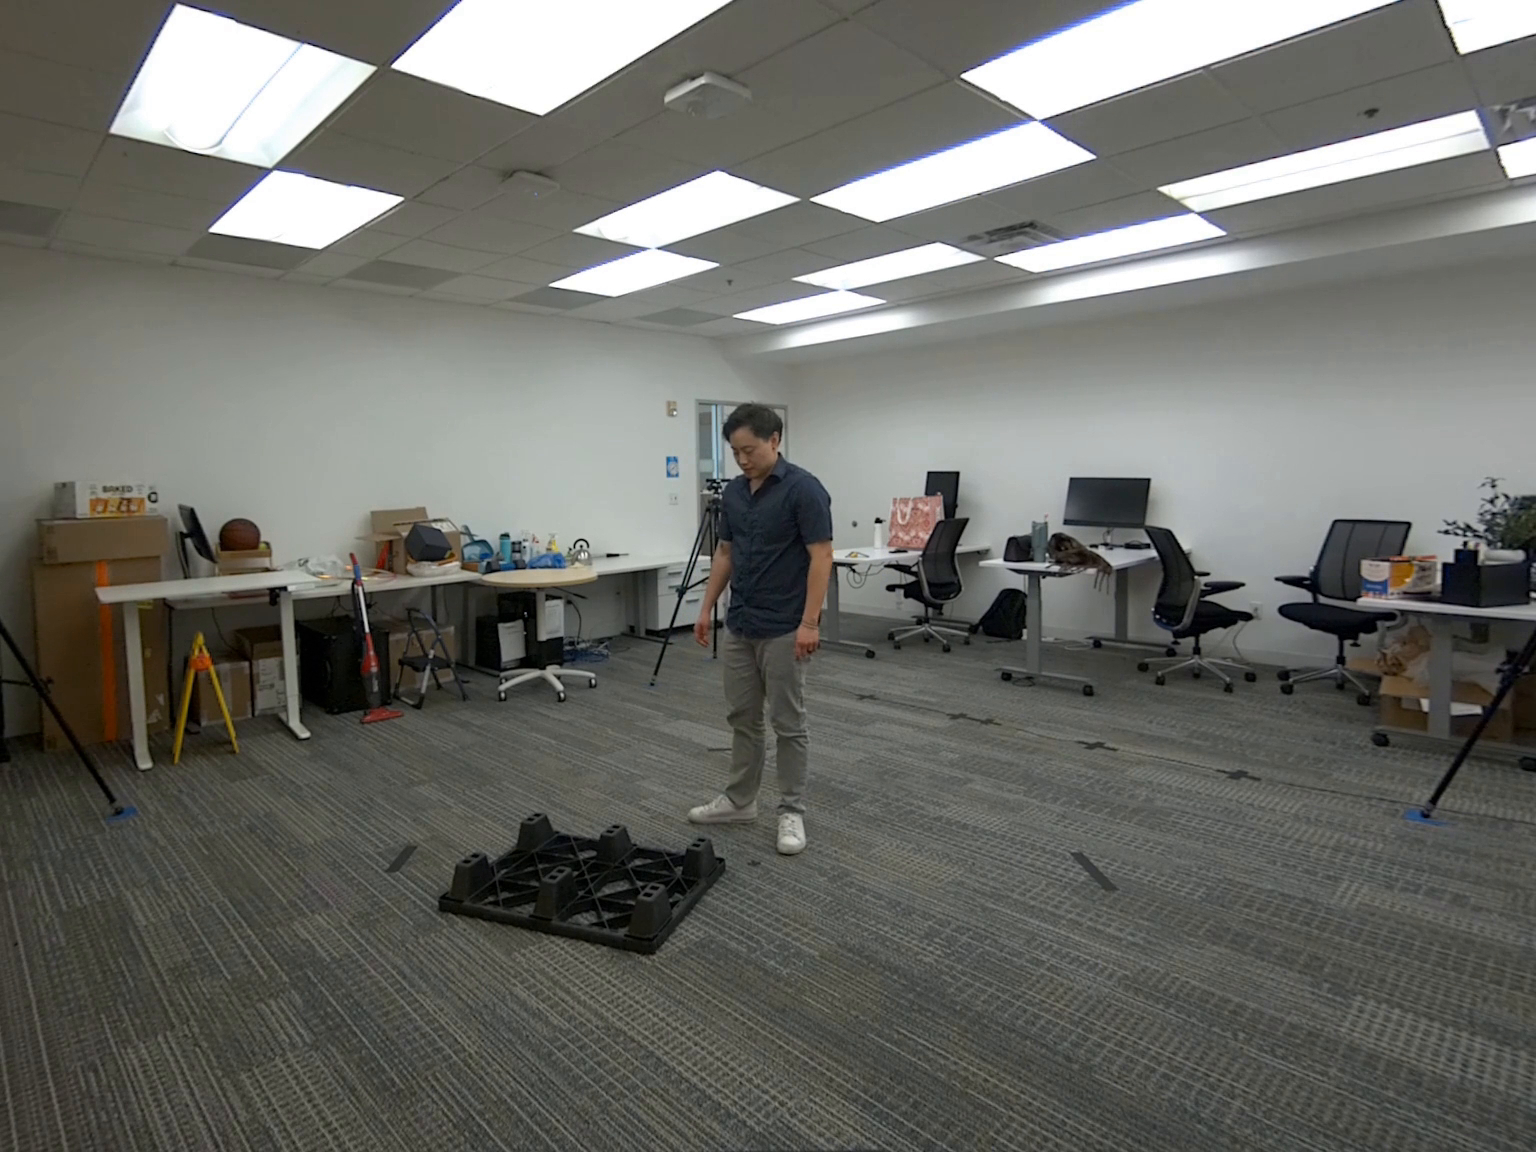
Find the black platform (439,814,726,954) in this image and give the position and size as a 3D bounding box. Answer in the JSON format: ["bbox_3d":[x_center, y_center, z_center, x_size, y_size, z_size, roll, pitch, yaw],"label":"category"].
[{"bbox_3d":[-0.622,1.011,2.929,0.822,0.143,0.596,1,7,21],"label":"black platform"}]
